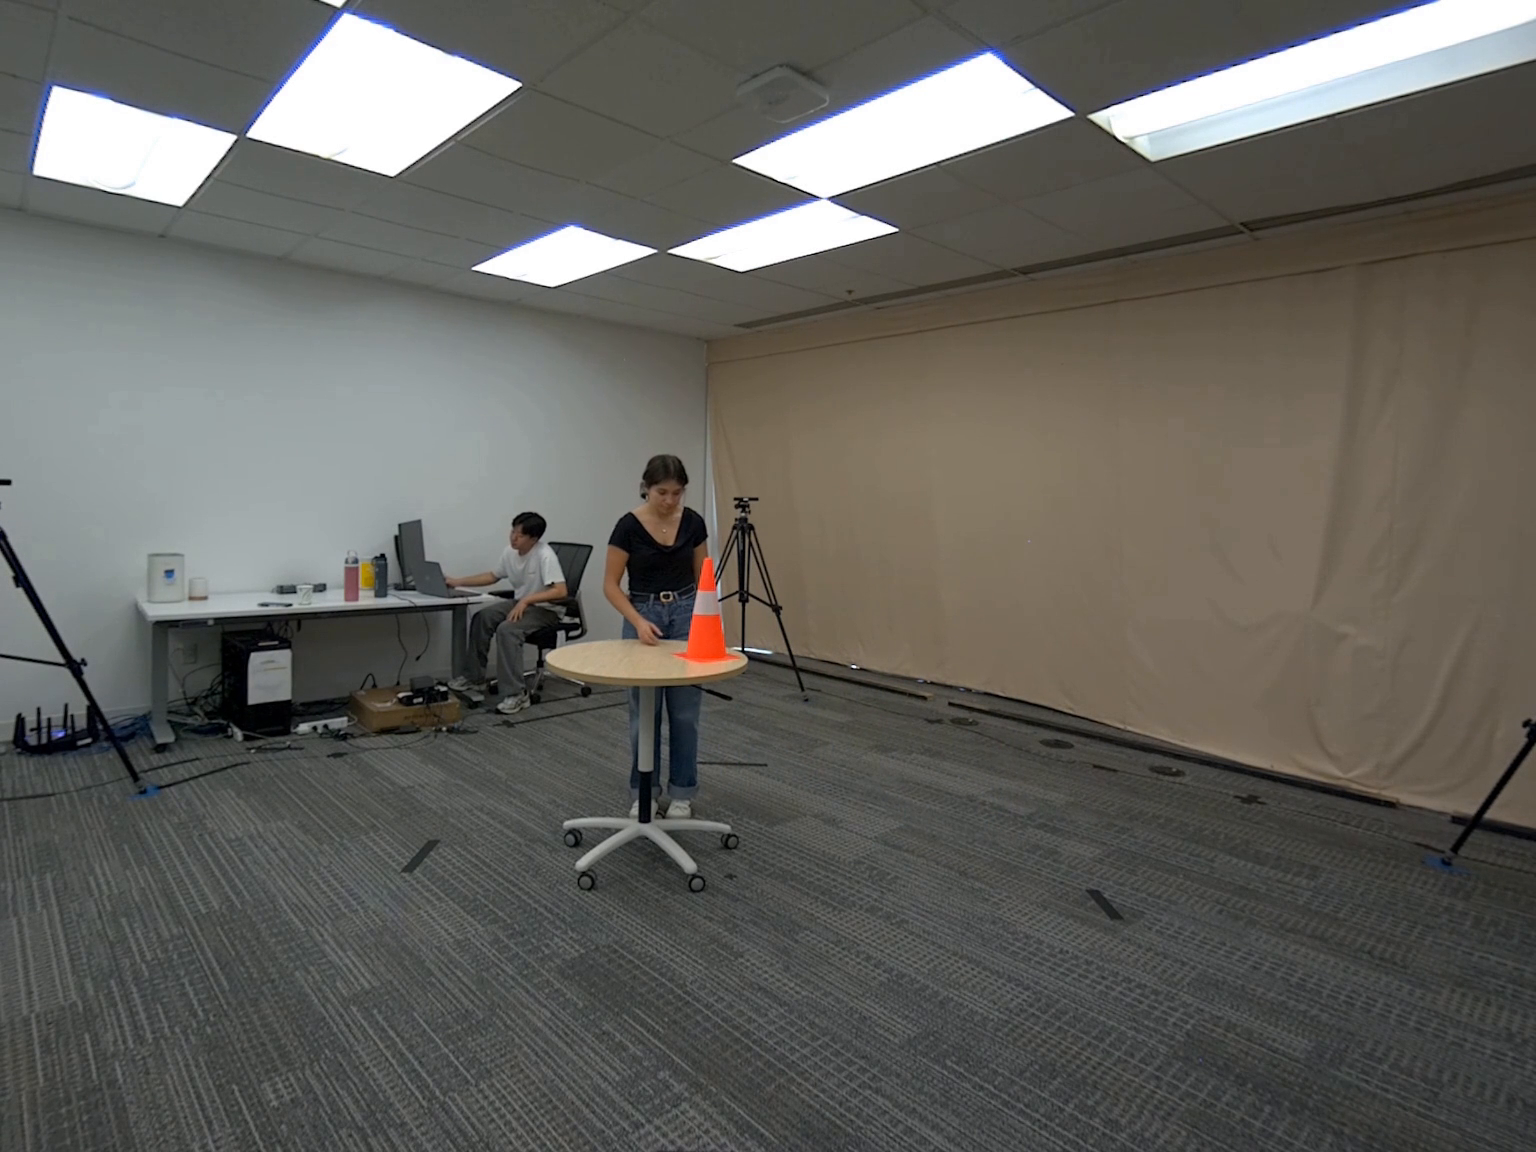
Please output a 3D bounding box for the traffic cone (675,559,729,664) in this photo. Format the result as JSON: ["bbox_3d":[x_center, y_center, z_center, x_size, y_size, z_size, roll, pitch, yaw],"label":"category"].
[{"bbox_3d":[-0.239,0.128,3.243,0.200,0.383,0.208,0,4,-39],"label":"traffic cone"}]
